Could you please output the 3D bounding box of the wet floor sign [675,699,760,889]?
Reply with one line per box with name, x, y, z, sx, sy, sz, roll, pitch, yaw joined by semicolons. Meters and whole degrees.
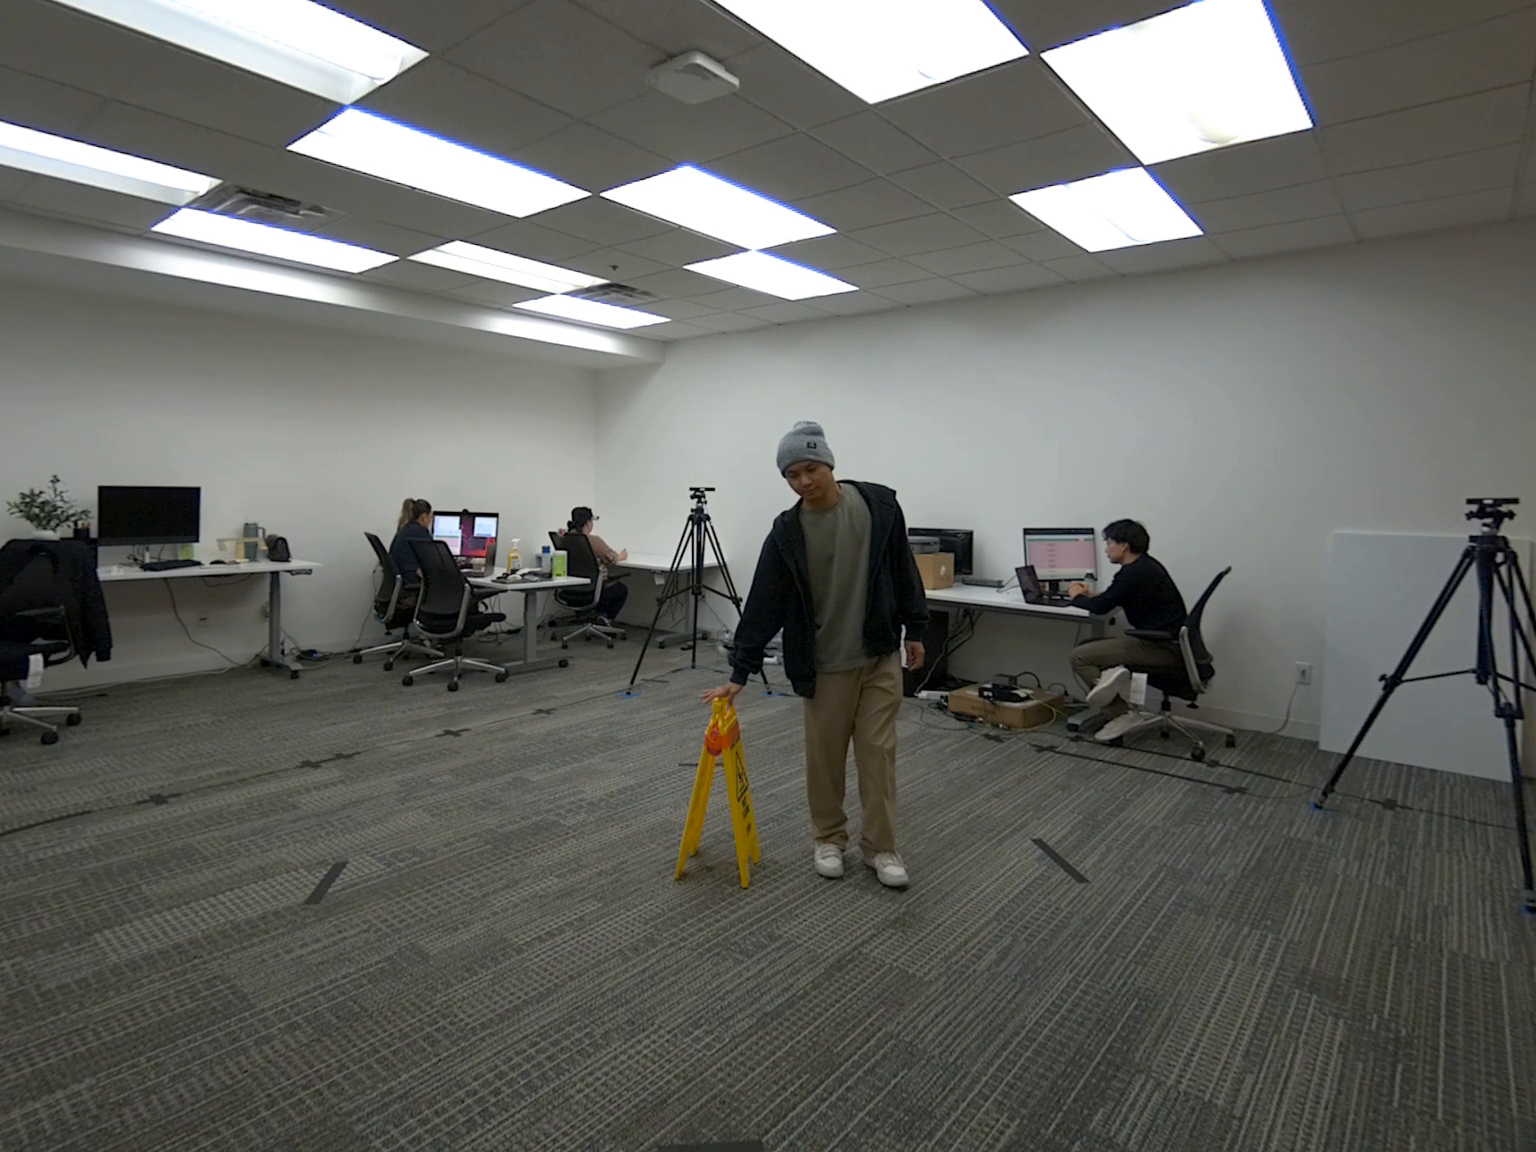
wet floor sign;-0.176;0.747;3.100;0.294;0.644;0.279;2;4;11
